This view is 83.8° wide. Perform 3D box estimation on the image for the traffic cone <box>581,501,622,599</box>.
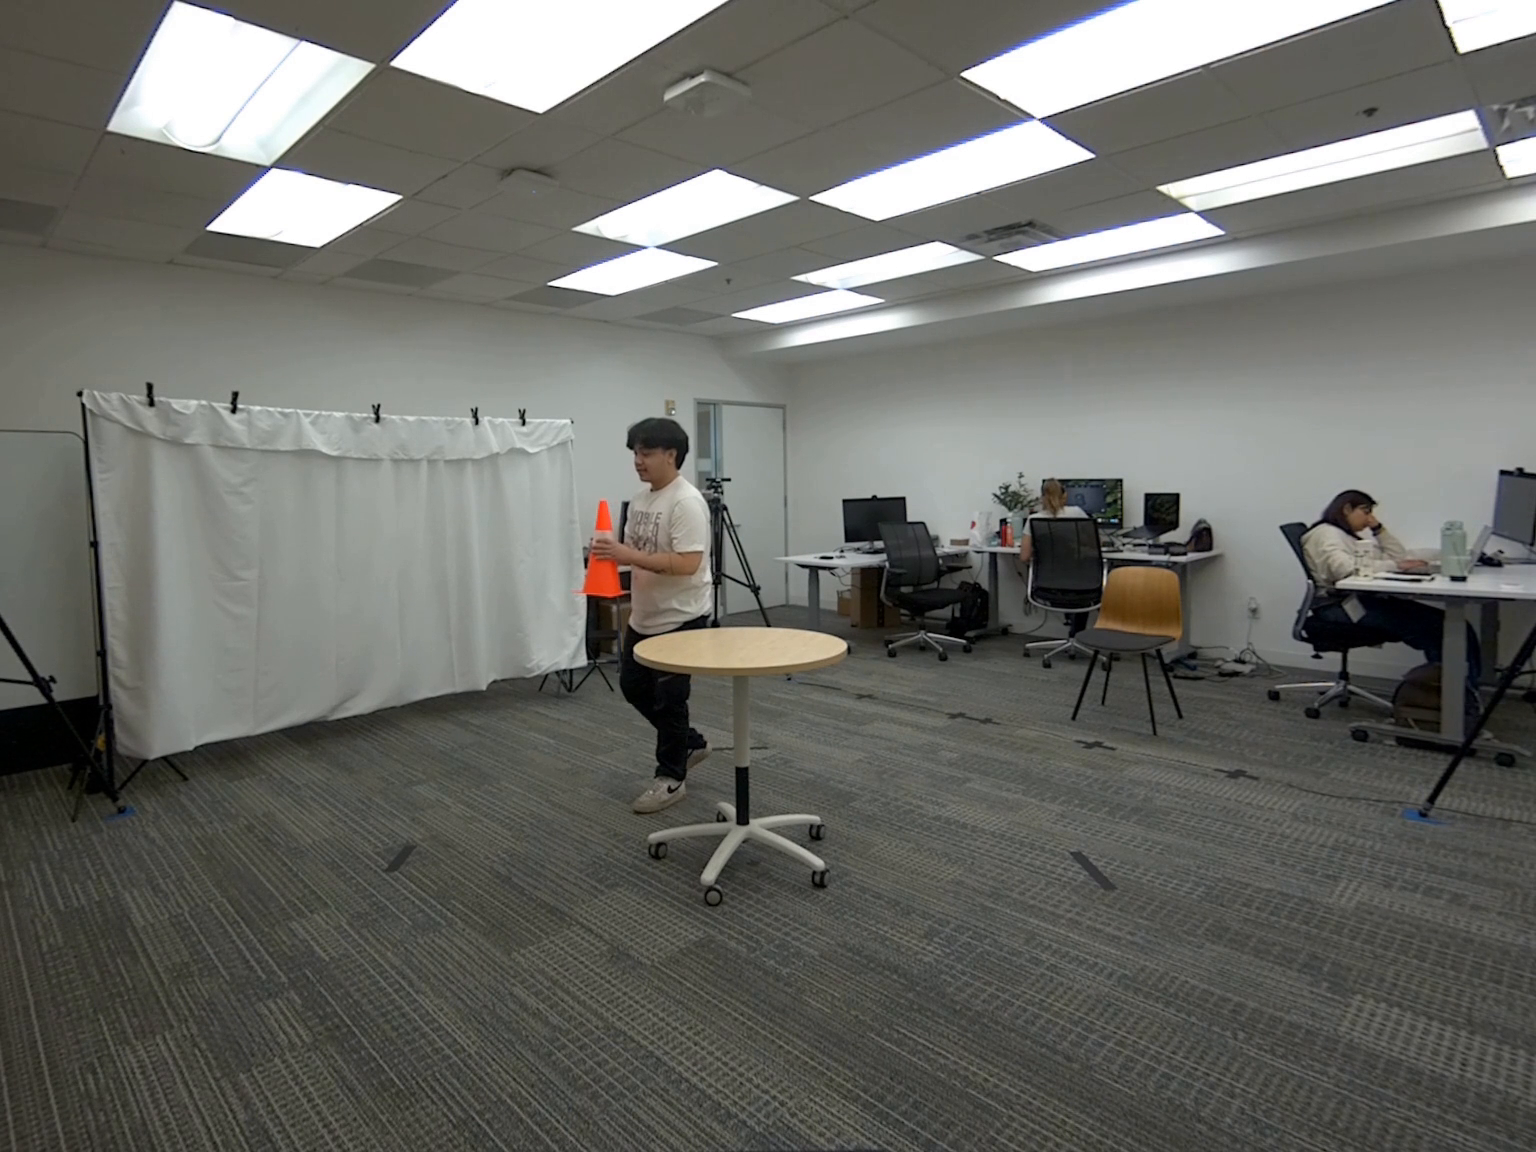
[{"bbox_3d":[-0.685,-0.119,3.529,0.208,0.383,0.201,2,2,22],"label":"traffic cone"}]
